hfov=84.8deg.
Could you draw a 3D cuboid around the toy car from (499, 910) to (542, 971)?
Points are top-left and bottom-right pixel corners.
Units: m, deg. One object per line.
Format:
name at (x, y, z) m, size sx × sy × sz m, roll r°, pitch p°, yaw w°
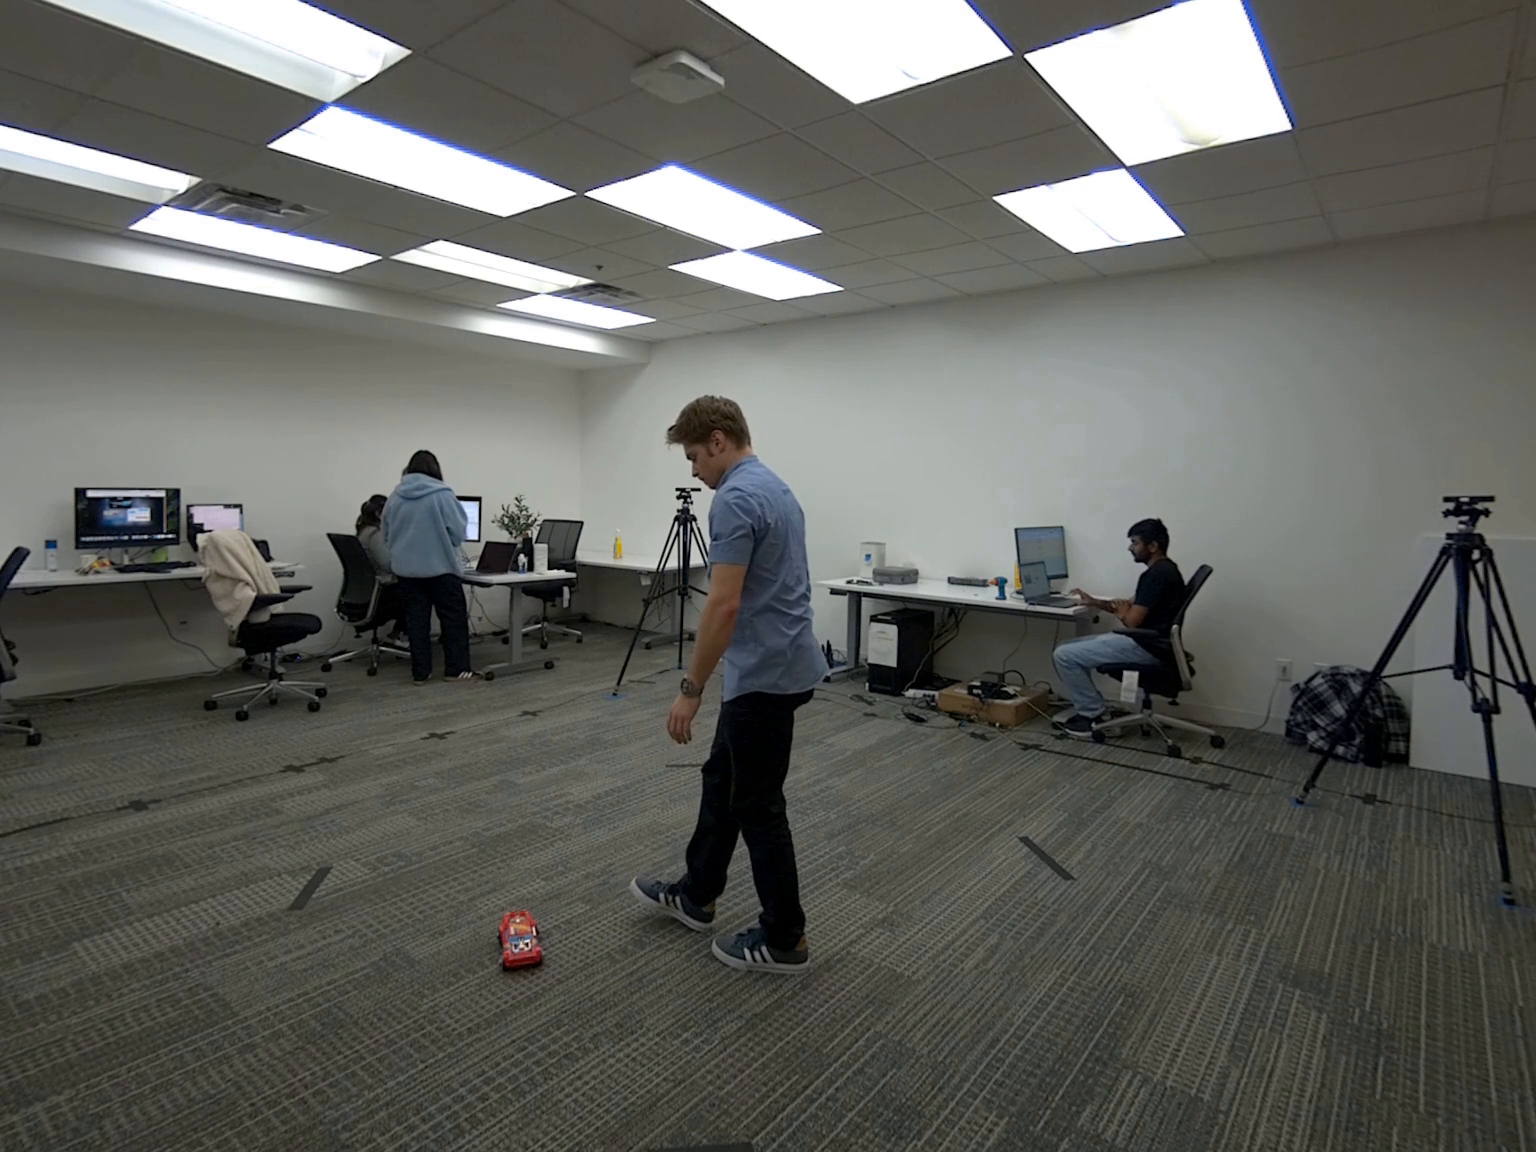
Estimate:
toy car at (-0.754, 1.083, 2.547) m, size 0.128 × 0.082 × 0.263 m, roll -1°, pitch 16°, yaw -20°
